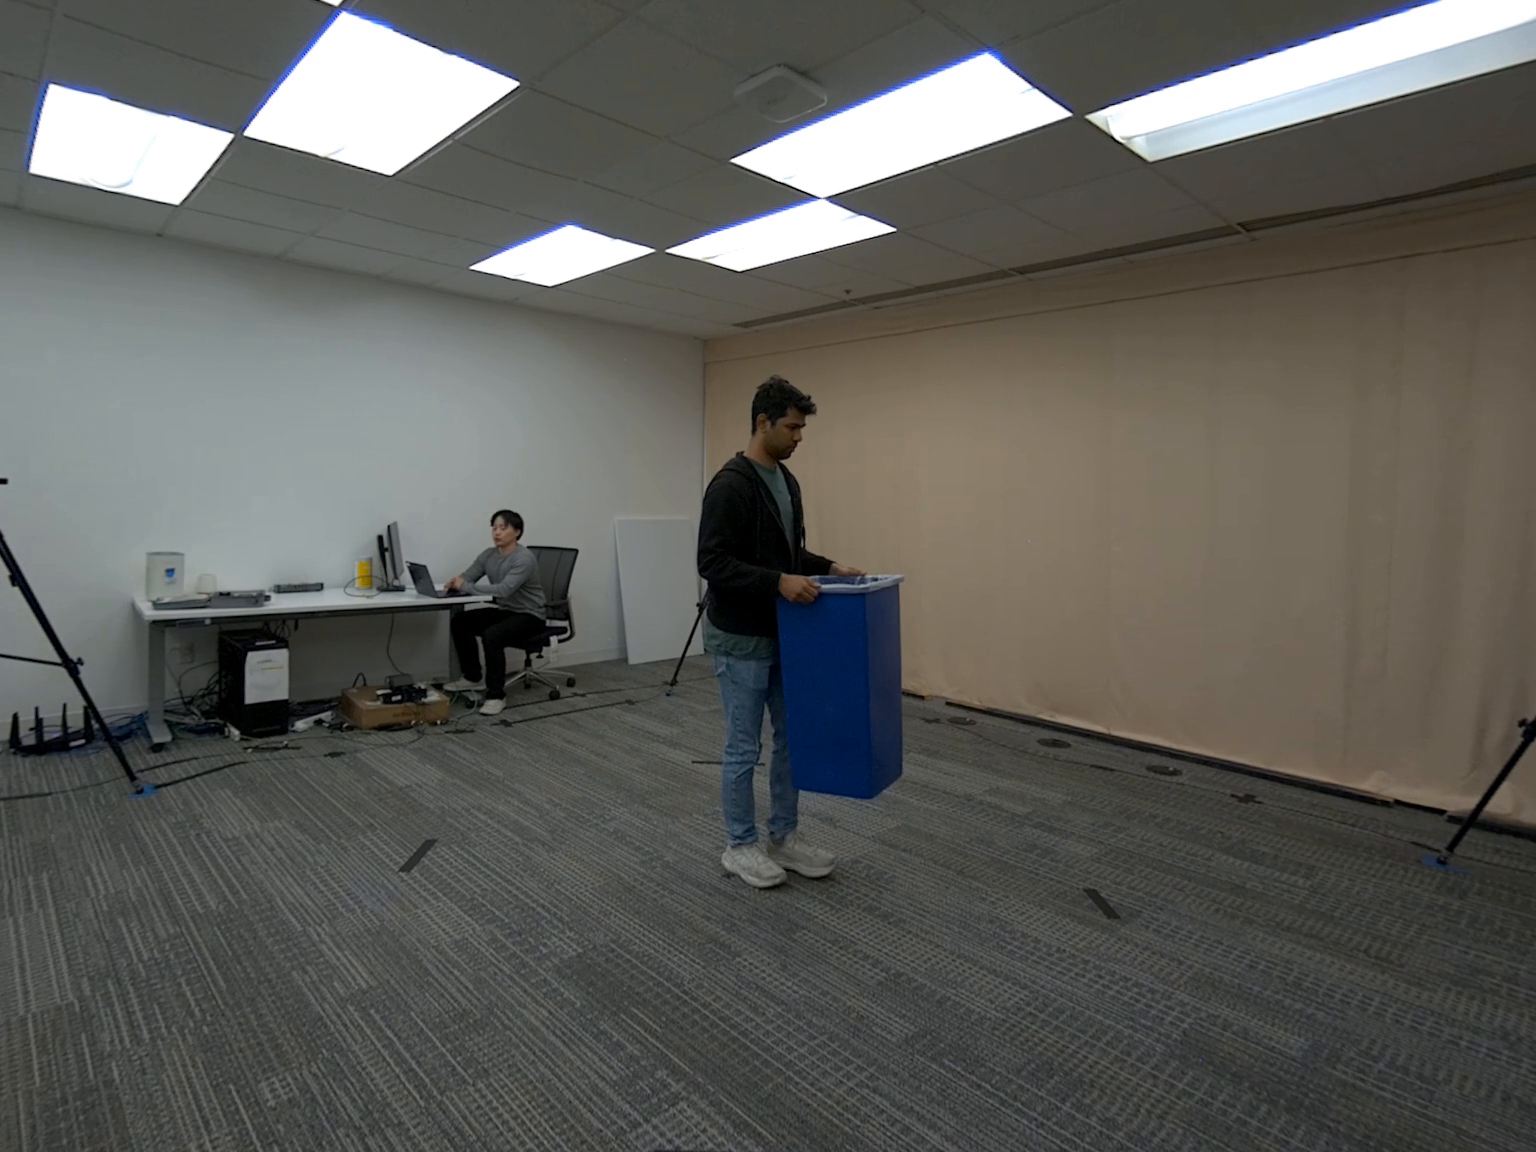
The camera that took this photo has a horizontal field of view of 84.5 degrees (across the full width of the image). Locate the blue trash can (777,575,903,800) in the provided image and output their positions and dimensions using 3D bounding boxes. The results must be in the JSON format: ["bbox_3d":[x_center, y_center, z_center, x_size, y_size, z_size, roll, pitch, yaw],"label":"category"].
[{"bbox_3d":[0.258,0.375,2.947,0.386,0.712,0.367,-2,3,30],"label":"blue trash can"}]
